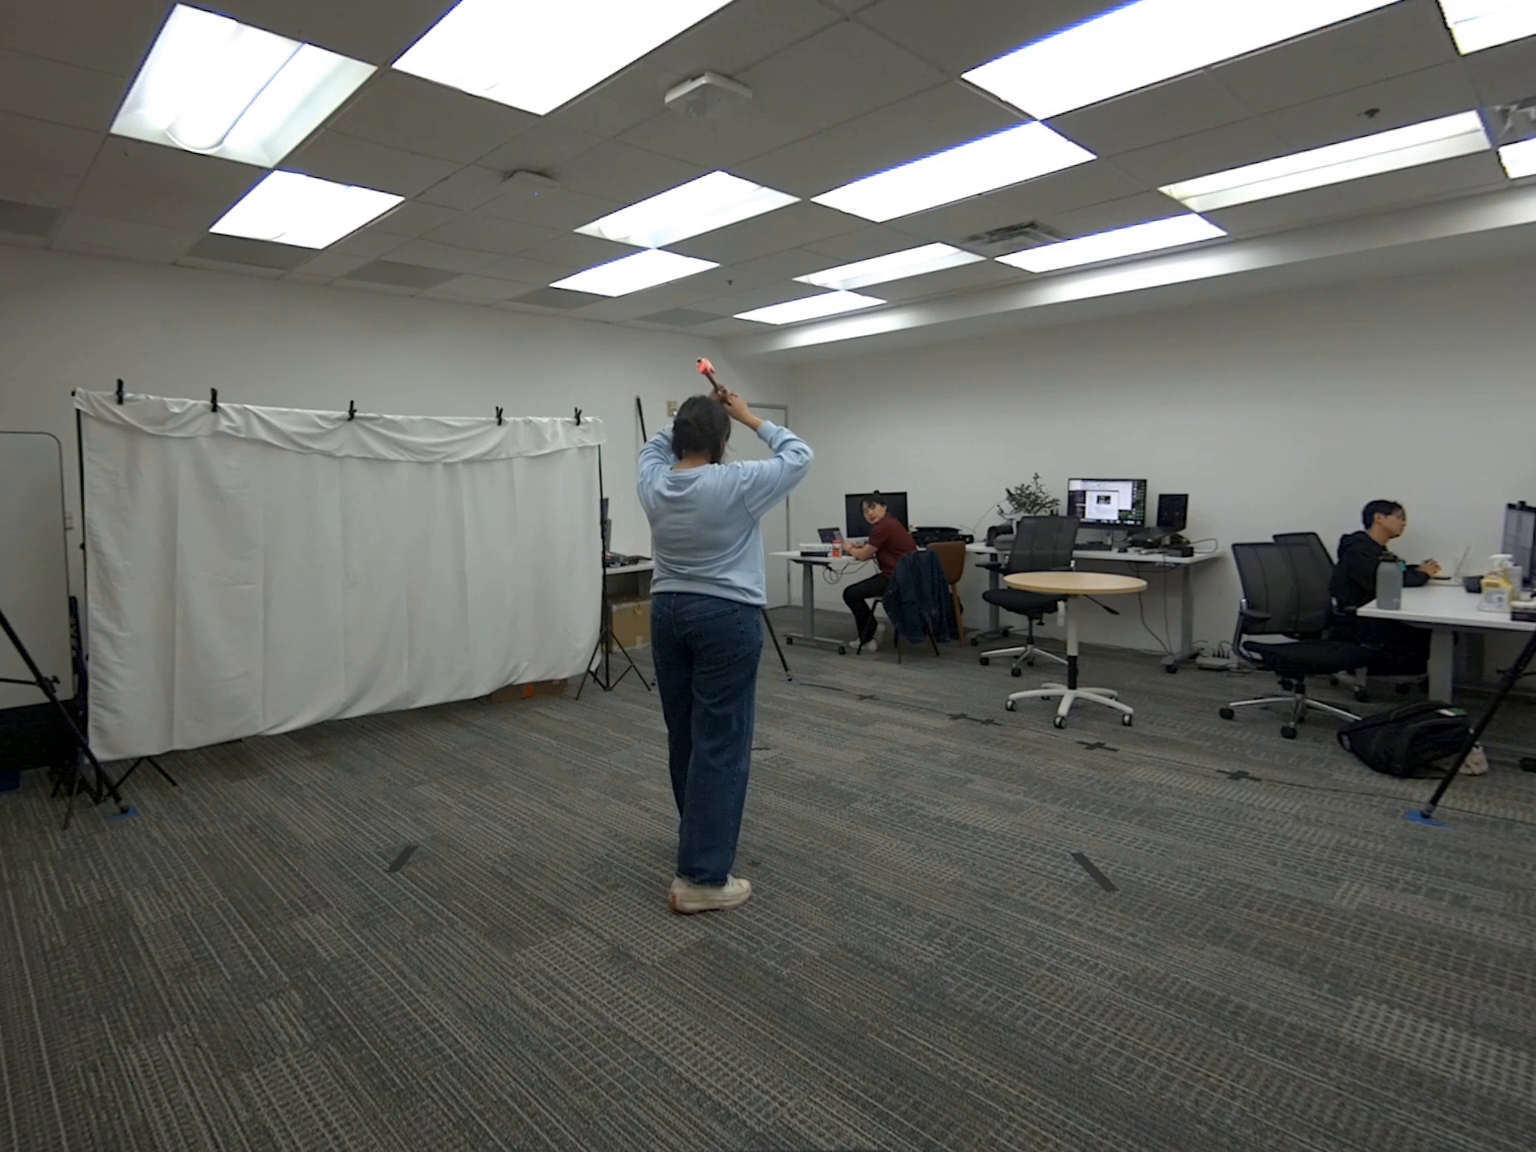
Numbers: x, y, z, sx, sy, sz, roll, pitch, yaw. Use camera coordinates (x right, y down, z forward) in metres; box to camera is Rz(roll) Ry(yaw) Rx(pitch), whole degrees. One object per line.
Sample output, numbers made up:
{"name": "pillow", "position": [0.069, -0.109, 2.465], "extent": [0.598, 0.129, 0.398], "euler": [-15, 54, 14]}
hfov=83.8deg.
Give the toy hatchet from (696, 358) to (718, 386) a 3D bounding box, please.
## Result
{"name": "toy hatchet", "position": [-0.174, -0.683, 3.055], "extent": [0.030, 0.135, 0.260], "euler": [-27, -49, 18]}
